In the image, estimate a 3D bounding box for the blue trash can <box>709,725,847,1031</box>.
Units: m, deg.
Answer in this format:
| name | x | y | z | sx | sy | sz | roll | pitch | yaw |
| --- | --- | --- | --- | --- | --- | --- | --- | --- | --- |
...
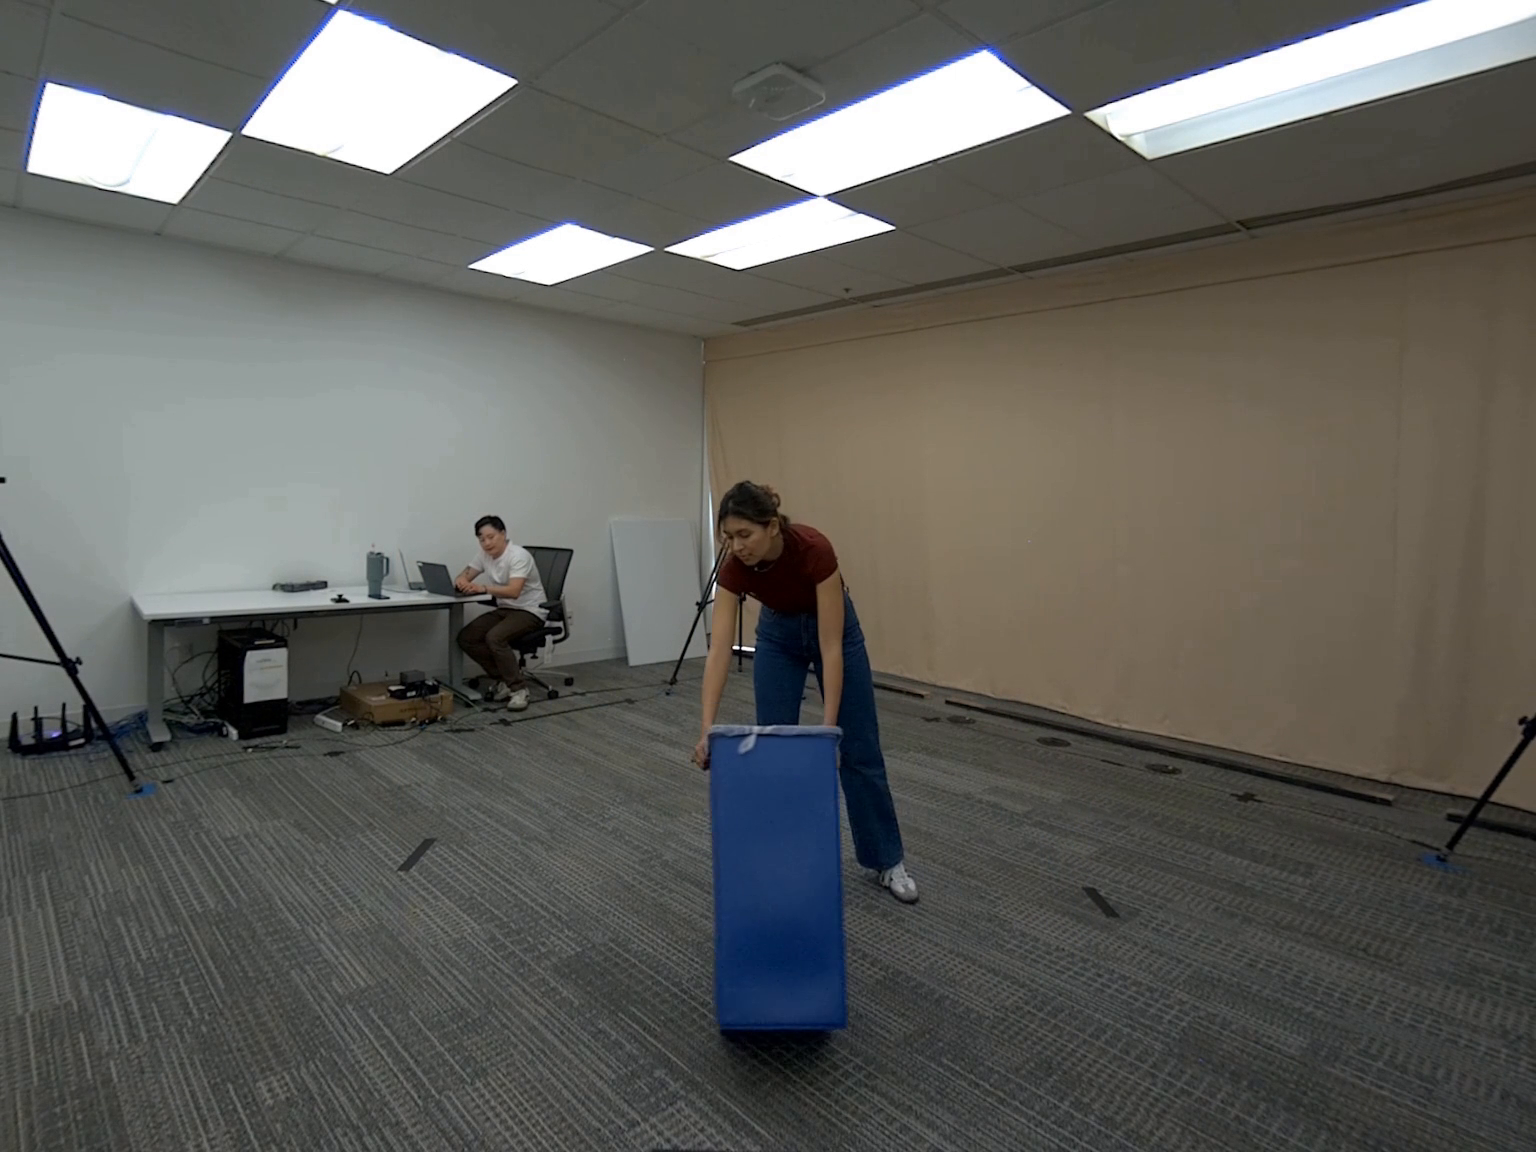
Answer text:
| name | x | y | z | sx | sy | sz | roll | pitch | yaw |
| --- | --- | --- | --- | --- | --- | --- | --- | --- | --- |
| blue trash can | 0.008 | 0.809 | 2.268 | 0.377 | 0.727 | 0.368 | 1 | -30 | -4 |
